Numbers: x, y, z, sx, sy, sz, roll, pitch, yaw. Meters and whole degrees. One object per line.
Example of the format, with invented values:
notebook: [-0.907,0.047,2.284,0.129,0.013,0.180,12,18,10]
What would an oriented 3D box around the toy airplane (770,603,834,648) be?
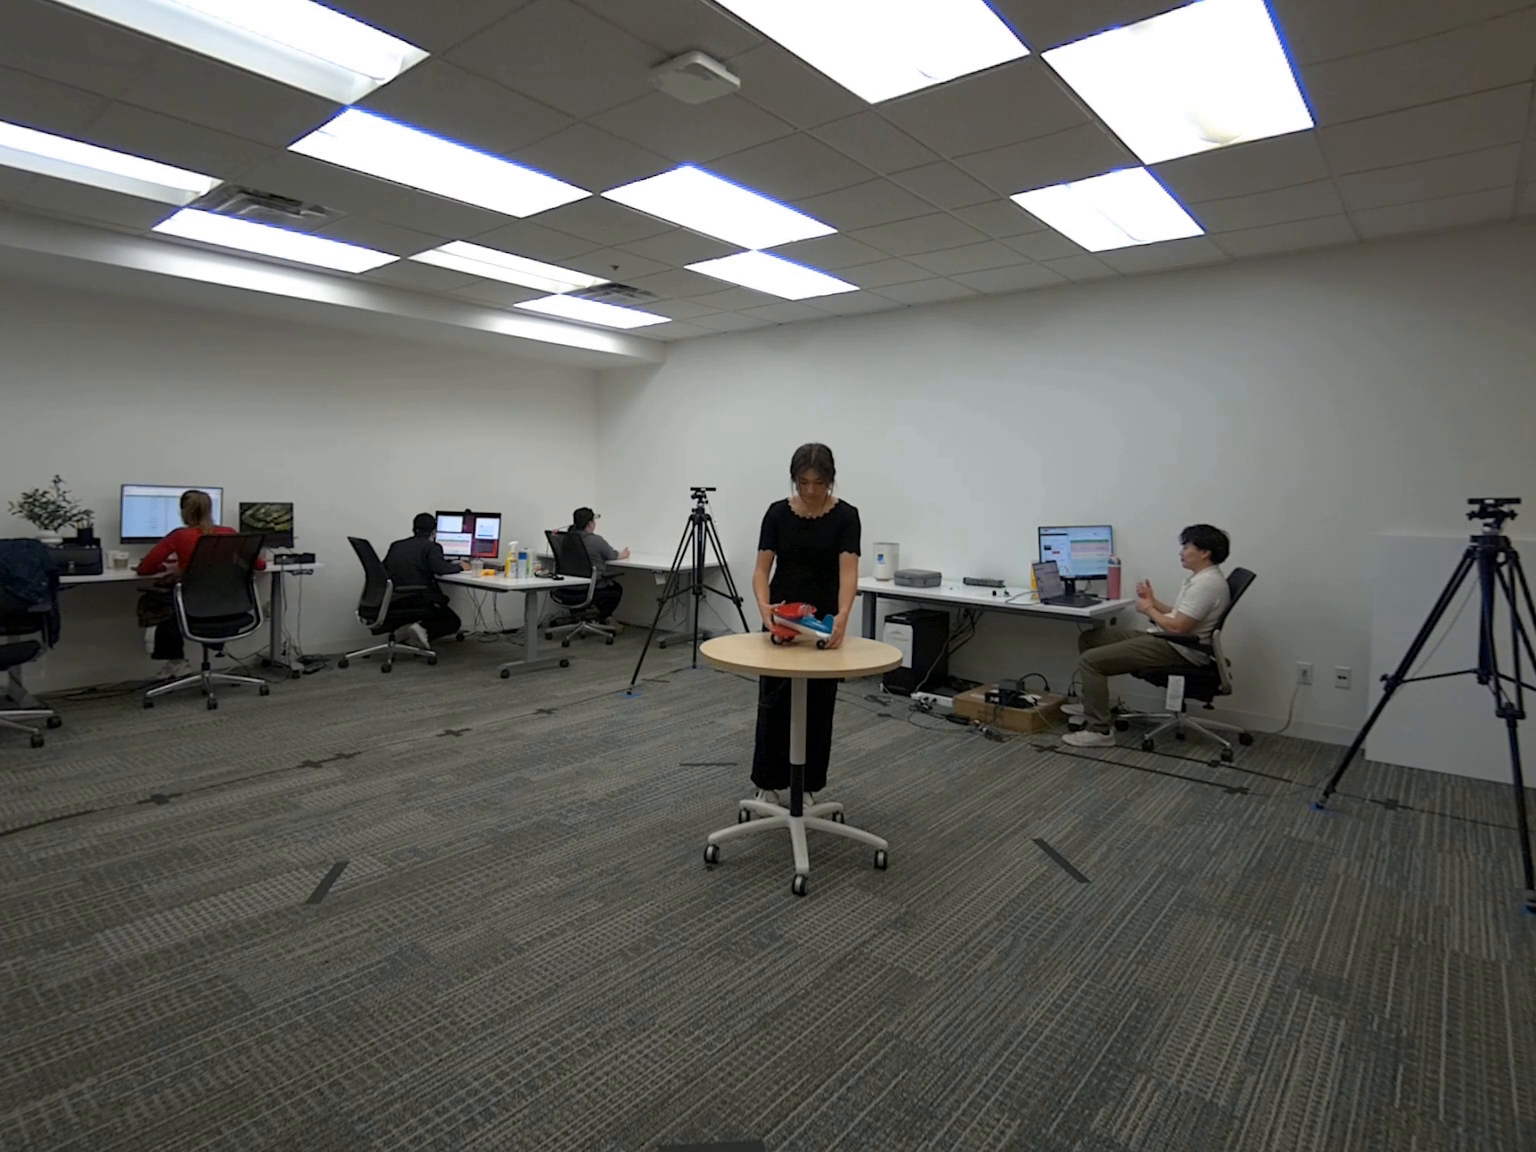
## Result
toy airplane: [0.132,0.187,3.333,0.260,0.156,0.251,1,5,4]
